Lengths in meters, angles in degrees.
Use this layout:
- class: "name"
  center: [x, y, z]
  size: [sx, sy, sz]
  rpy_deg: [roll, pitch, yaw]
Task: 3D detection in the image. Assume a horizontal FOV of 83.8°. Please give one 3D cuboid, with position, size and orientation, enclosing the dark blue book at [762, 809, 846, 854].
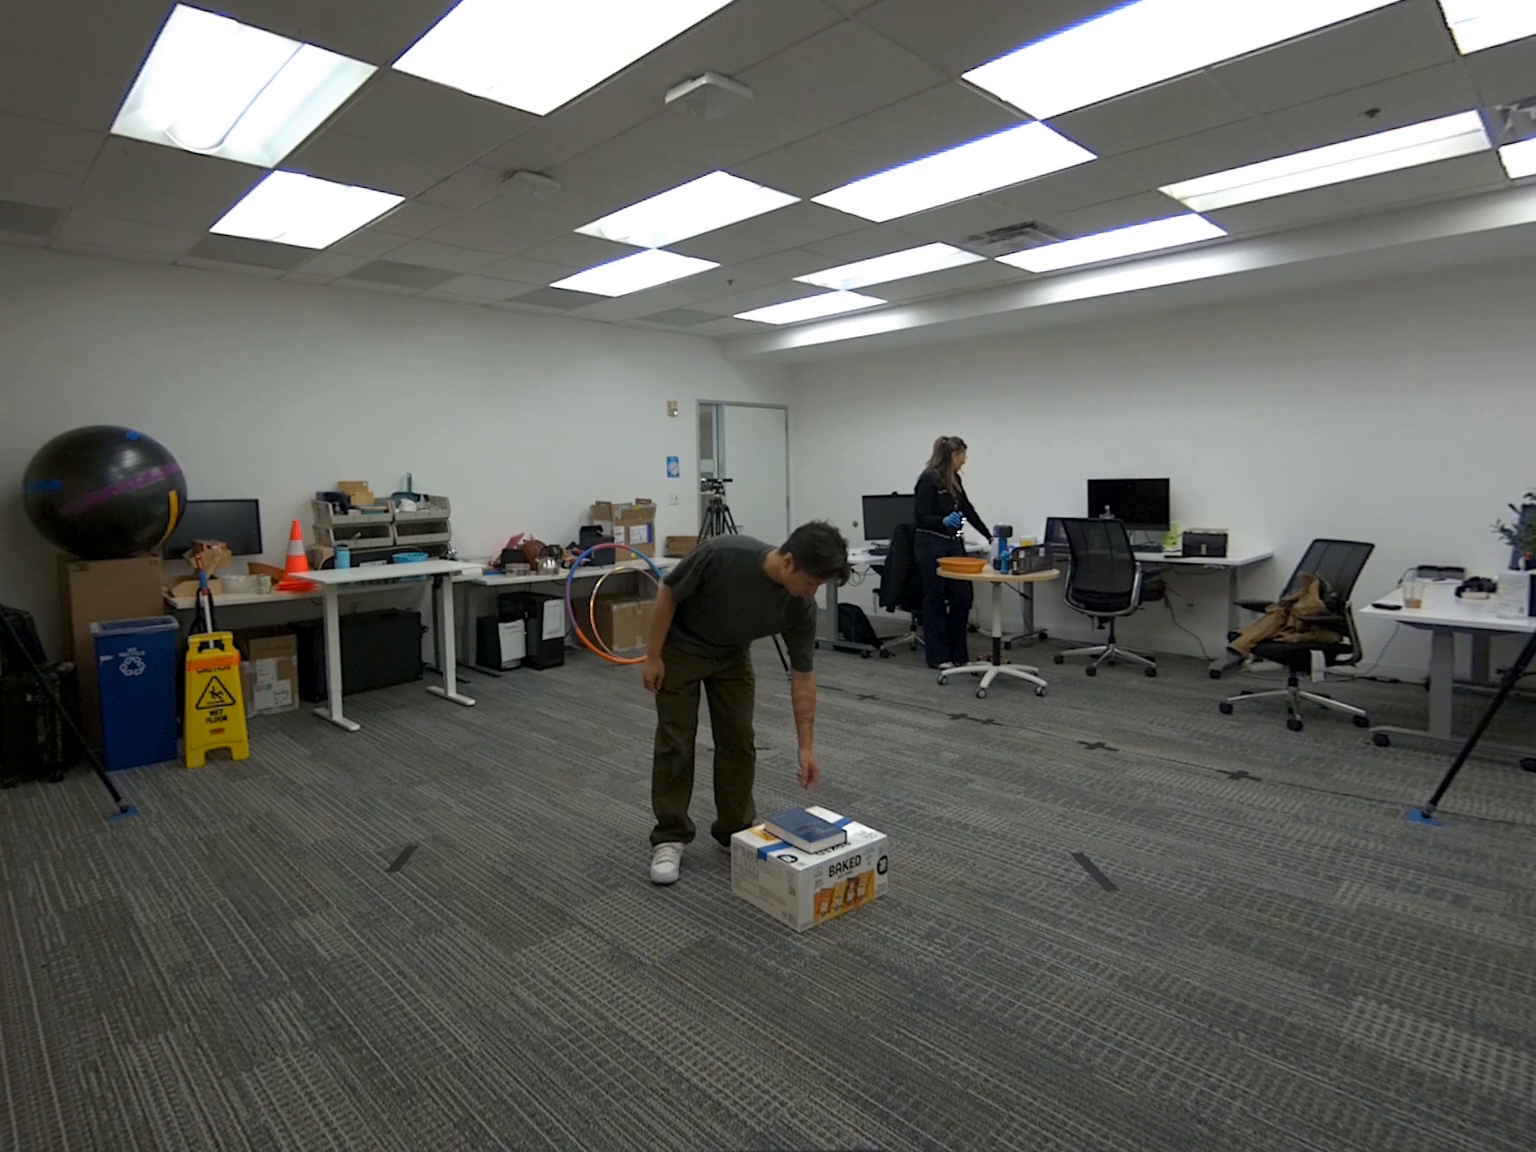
- class: "dark blue book"
  center: [0.129, 0.857, 2.860]
  size: [0.159, 0.045, 0.253]
  rpy_deg: [-6, 9, -37]
